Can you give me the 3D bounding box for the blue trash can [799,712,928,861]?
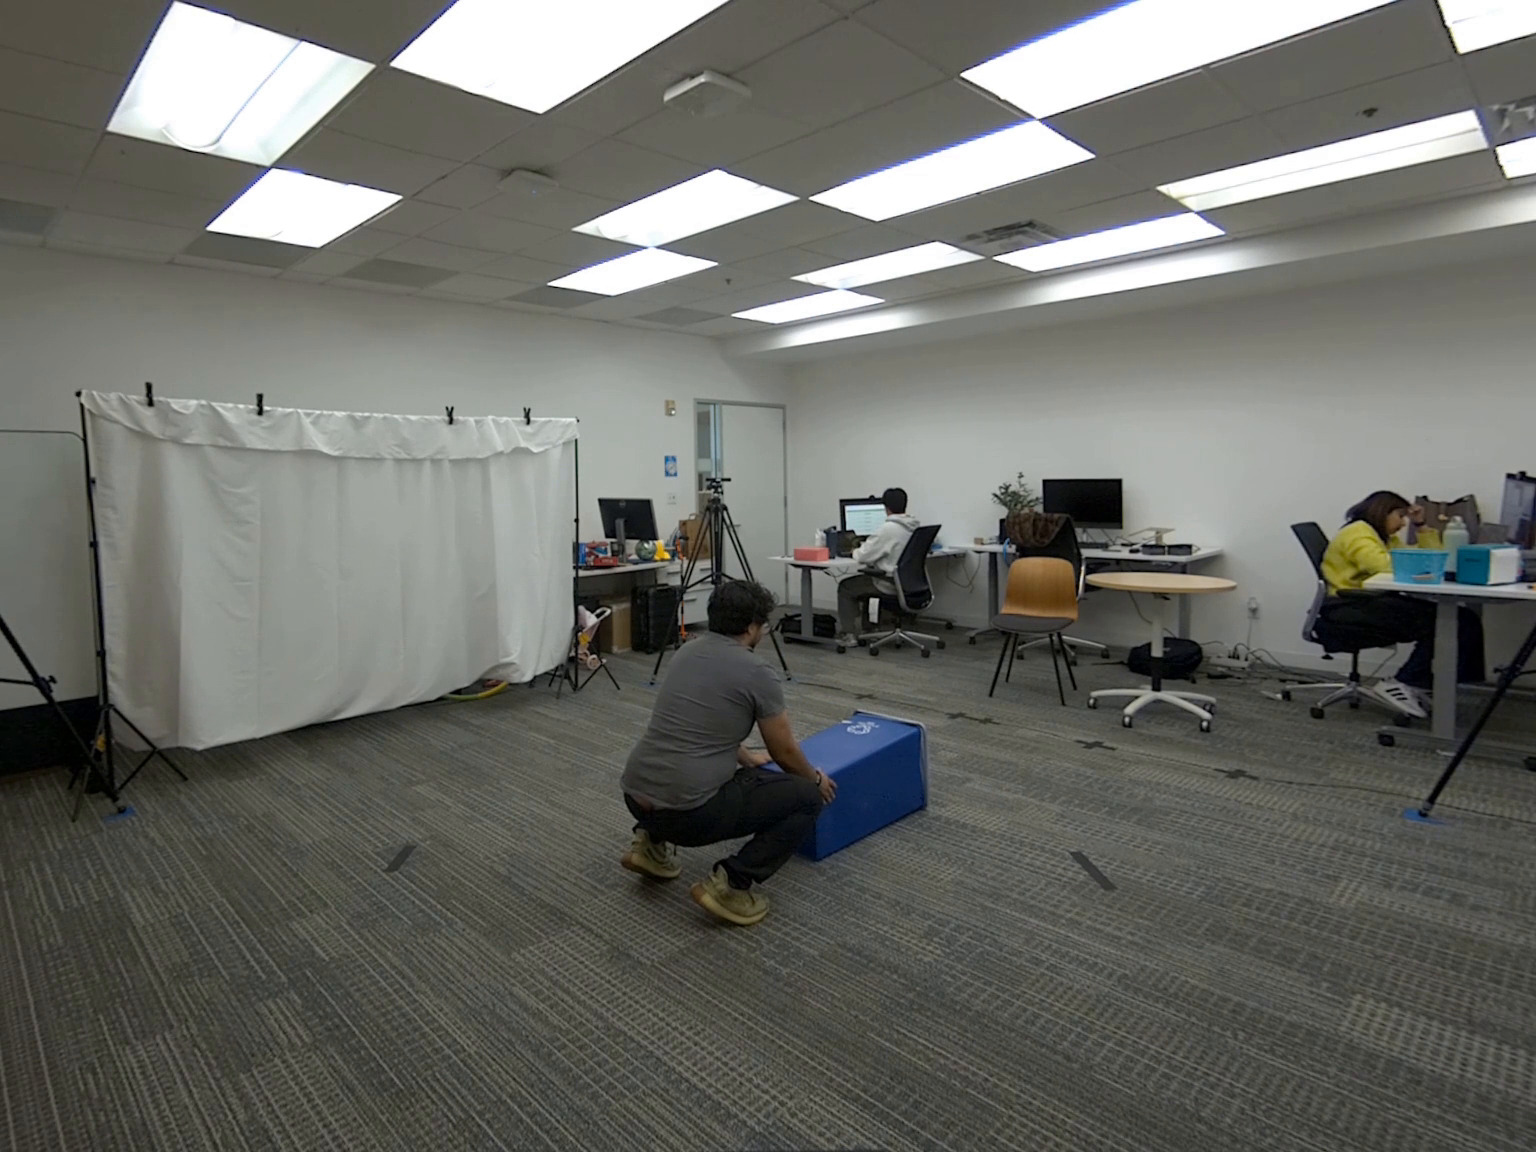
[{"bbox_3d":[0.301,0.835,3.431,0.385,0.375,0.697,4,10,43],"label":"blue trash can"}]
